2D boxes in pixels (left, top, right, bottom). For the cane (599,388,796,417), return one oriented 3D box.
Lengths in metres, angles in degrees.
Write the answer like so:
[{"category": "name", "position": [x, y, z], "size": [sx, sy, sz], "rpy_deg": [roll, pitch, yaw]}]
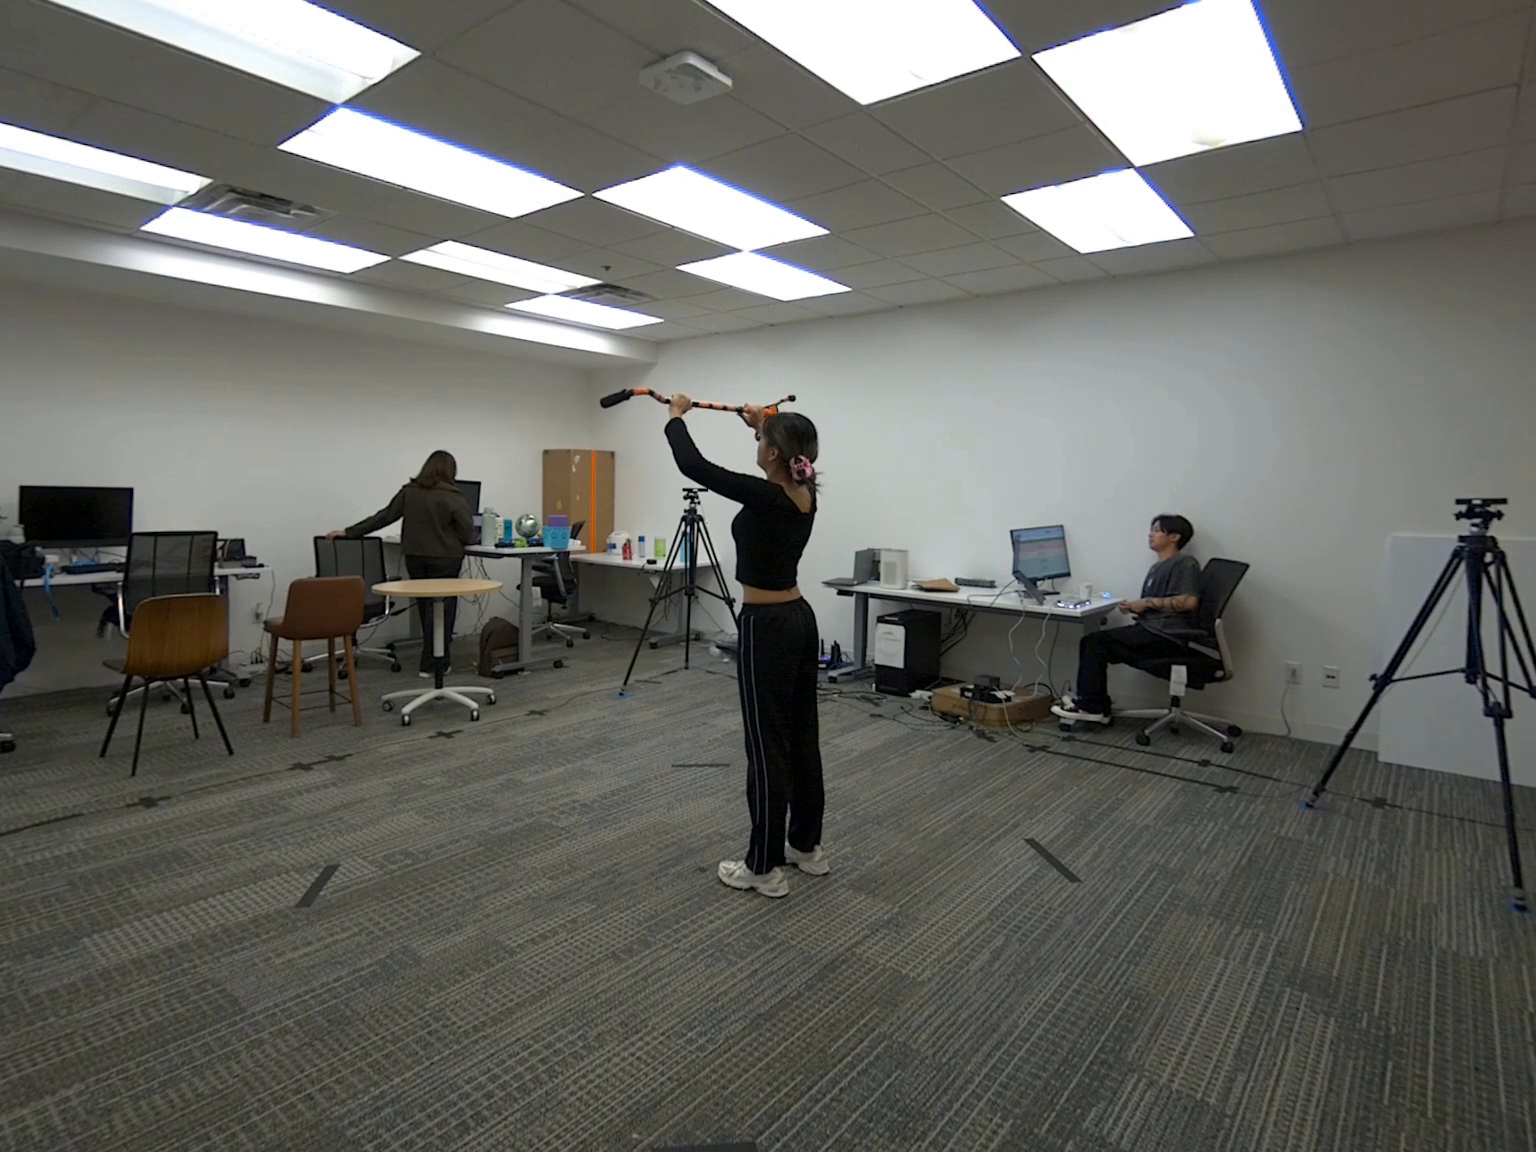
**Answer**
[{"category": "cane", "position": [-0.227, -0.604, 3.064], "size": [0.211, 0.152, 0.883], "rpy_deg": [-10, -2, 36]}]
